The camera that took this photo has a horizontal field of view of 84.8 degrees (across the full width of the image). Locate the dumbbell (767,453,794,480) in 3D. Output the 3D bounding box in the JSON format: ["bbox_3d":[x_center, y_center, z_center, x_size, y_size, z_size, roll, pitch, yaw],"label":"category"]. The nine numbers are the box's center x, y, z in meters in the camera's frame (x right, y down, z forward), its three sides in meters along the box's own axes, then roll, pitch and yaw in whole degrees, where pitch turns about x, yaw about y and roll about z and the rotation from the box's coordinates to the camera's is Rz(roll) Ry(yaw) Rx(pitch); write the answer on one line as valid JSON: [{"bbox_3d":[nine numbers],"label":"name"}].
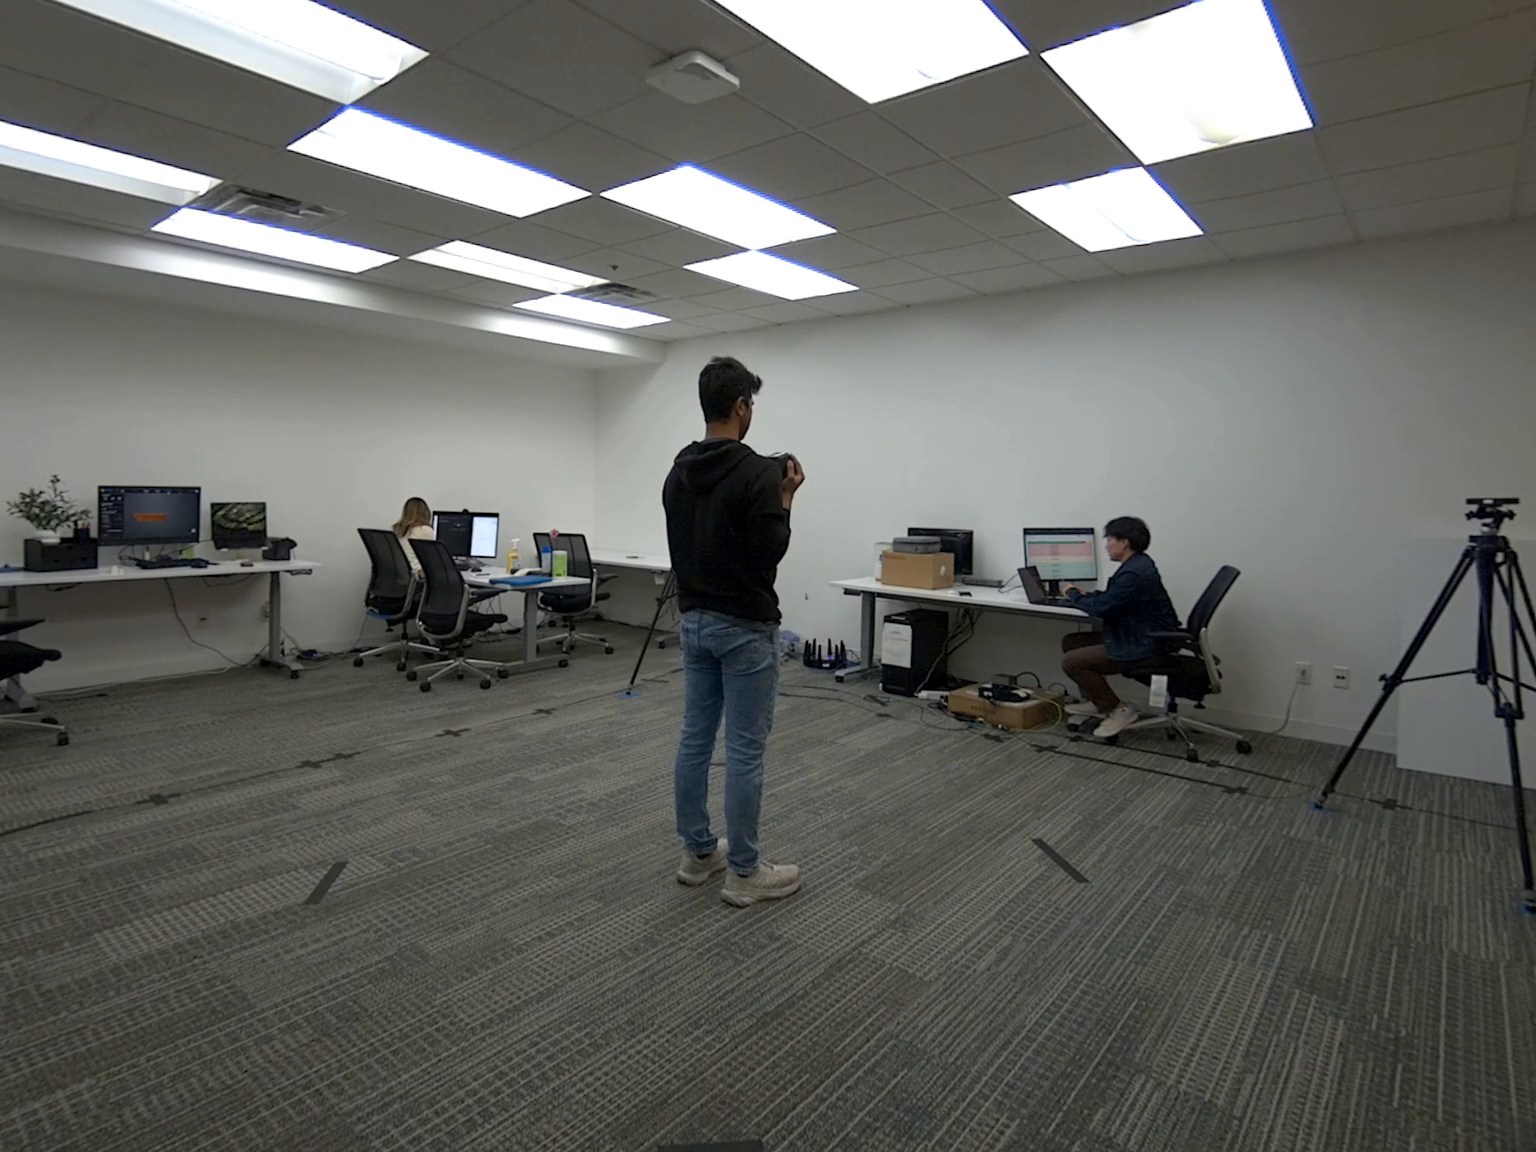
[{"bbox_3d":[-0.058,-0.372,3.006,0.304,0.106,0.121,8,26,40],"label":"dumbbell"}]
